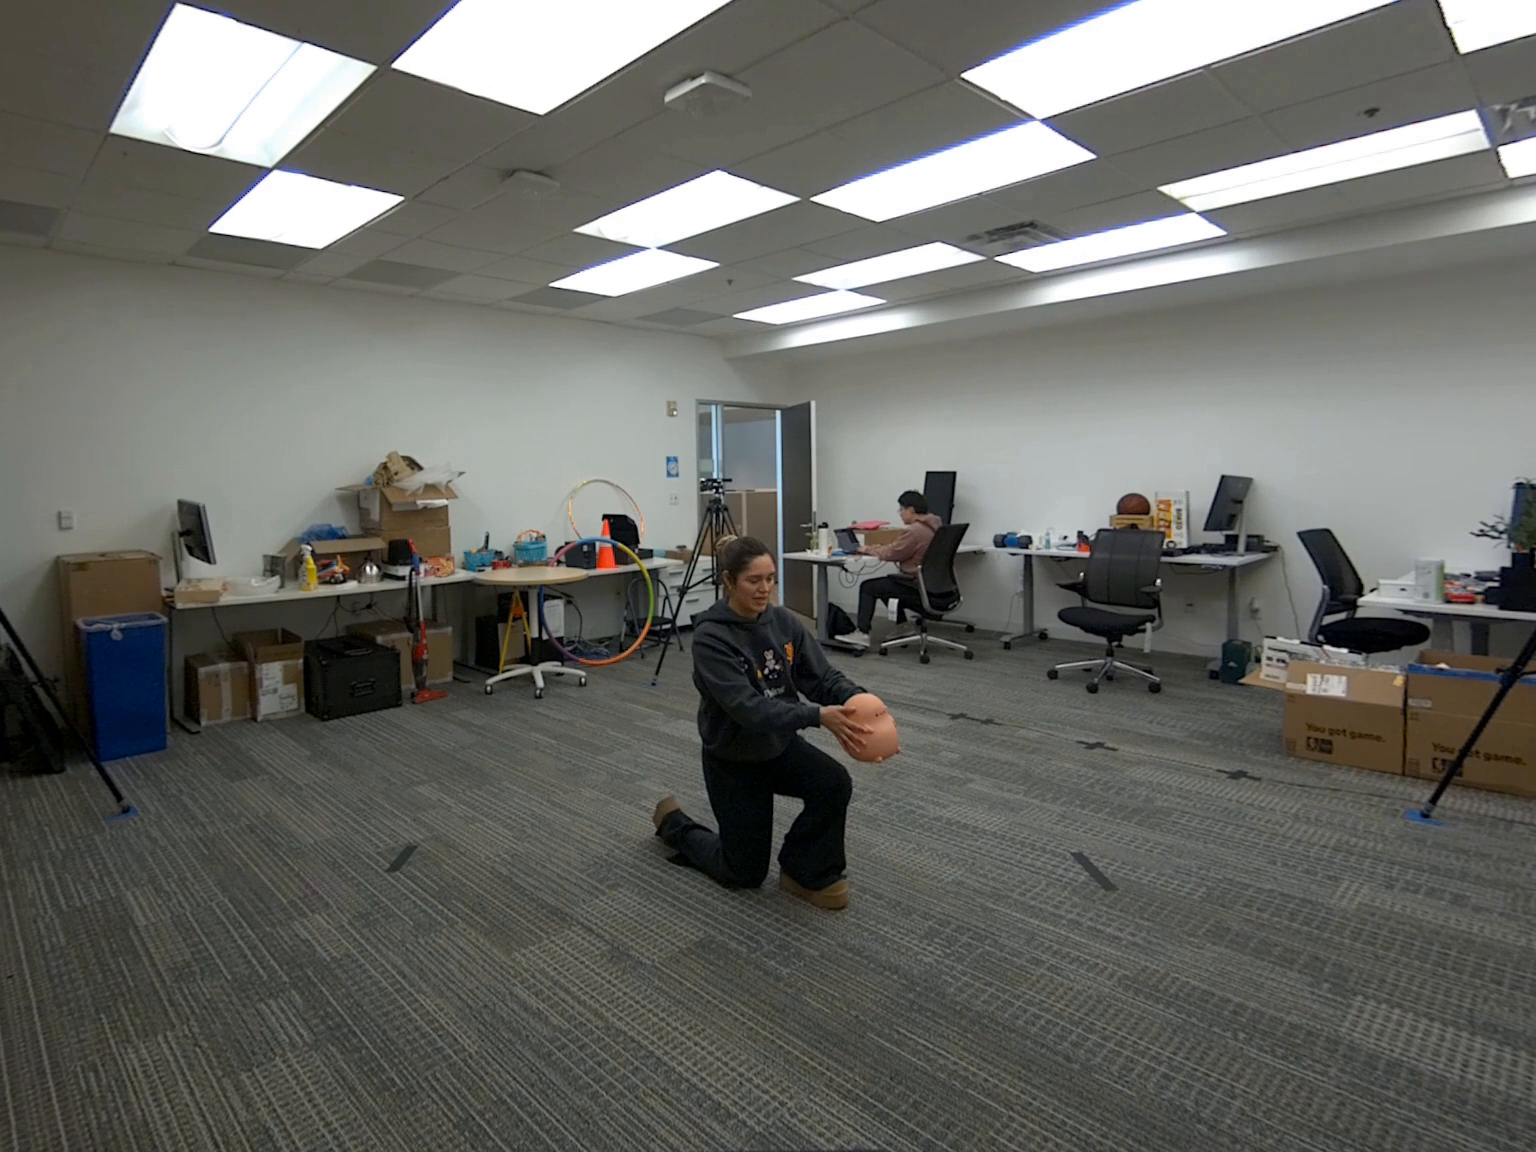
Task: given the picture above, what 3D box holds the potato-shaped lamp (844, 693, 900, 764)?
[{"bbox_3d":[0.295,0.462,2.604,0.161,0.198,0.176,-9,3,-44],"label":"potato-shaped lamp"}]
